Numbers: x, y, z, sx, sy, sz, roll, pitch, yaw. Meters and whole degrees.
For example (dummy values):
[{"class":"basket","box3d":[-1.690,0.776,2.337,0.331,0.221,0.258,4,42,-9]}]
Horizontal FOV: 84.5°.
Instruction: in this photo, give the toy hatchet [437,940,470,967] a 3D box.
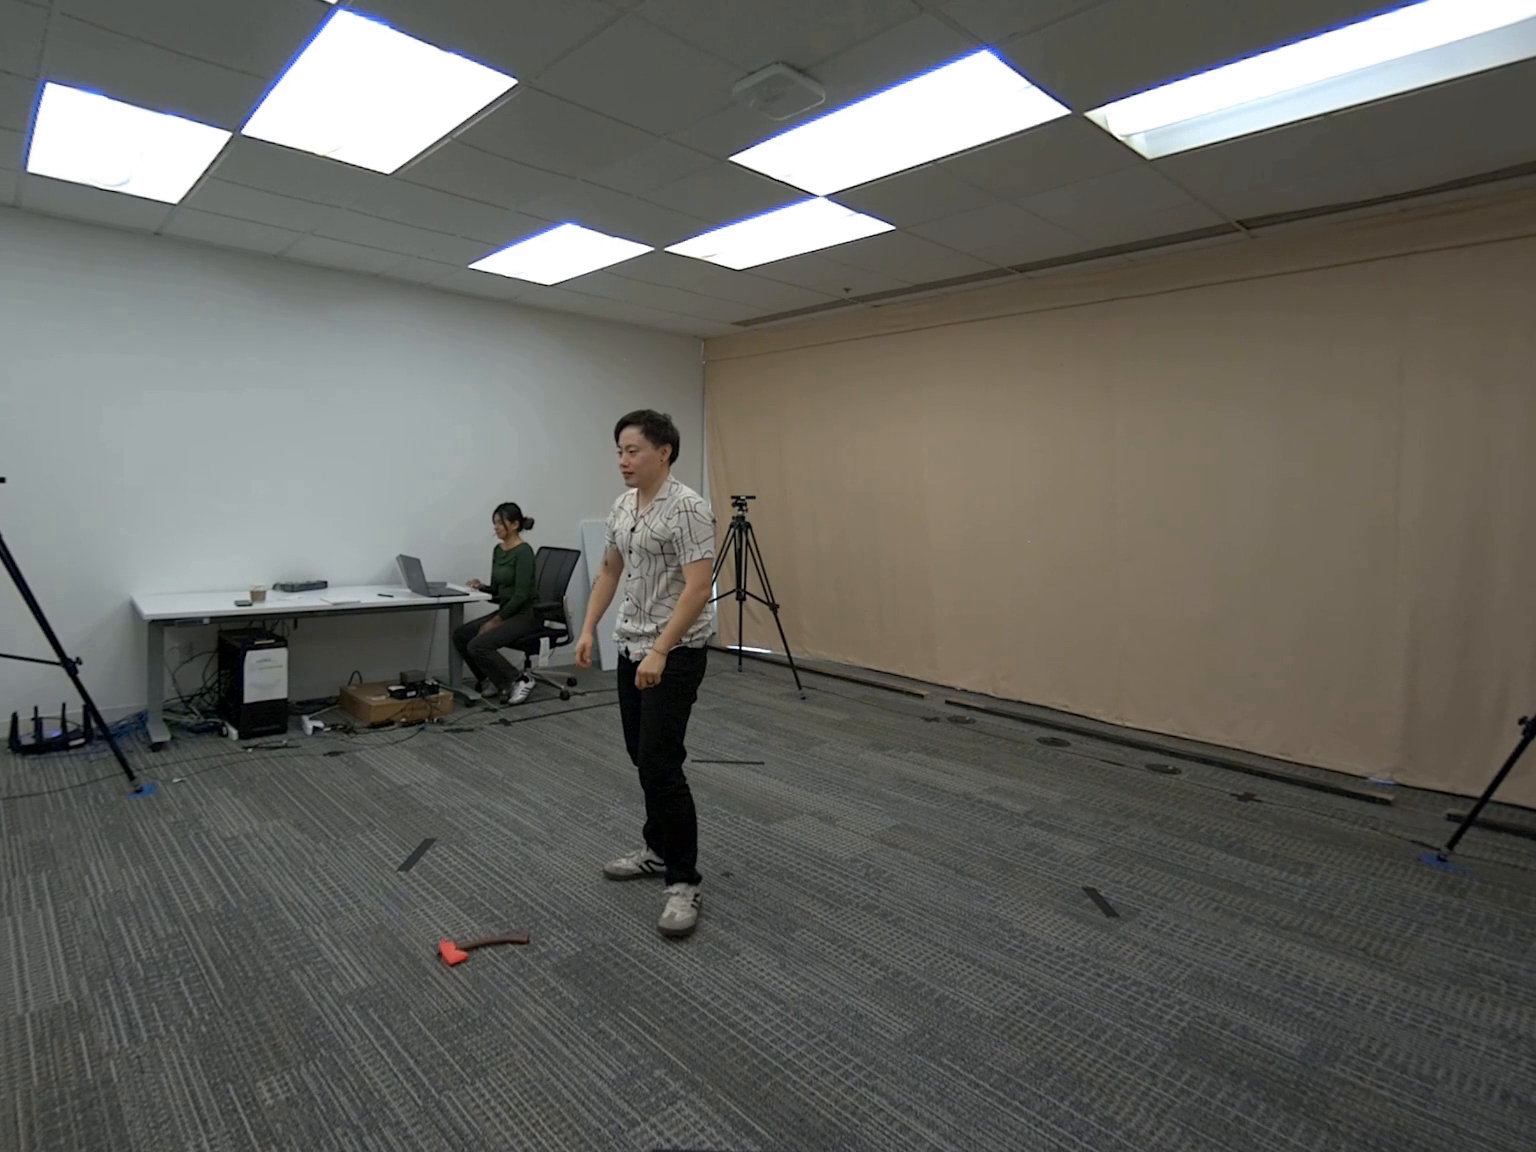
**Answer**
[{"class":"toy hatchet","box3d":[-0.867,1.133,2.531,0.267,0.029,0.133,2,4,-13]}]
